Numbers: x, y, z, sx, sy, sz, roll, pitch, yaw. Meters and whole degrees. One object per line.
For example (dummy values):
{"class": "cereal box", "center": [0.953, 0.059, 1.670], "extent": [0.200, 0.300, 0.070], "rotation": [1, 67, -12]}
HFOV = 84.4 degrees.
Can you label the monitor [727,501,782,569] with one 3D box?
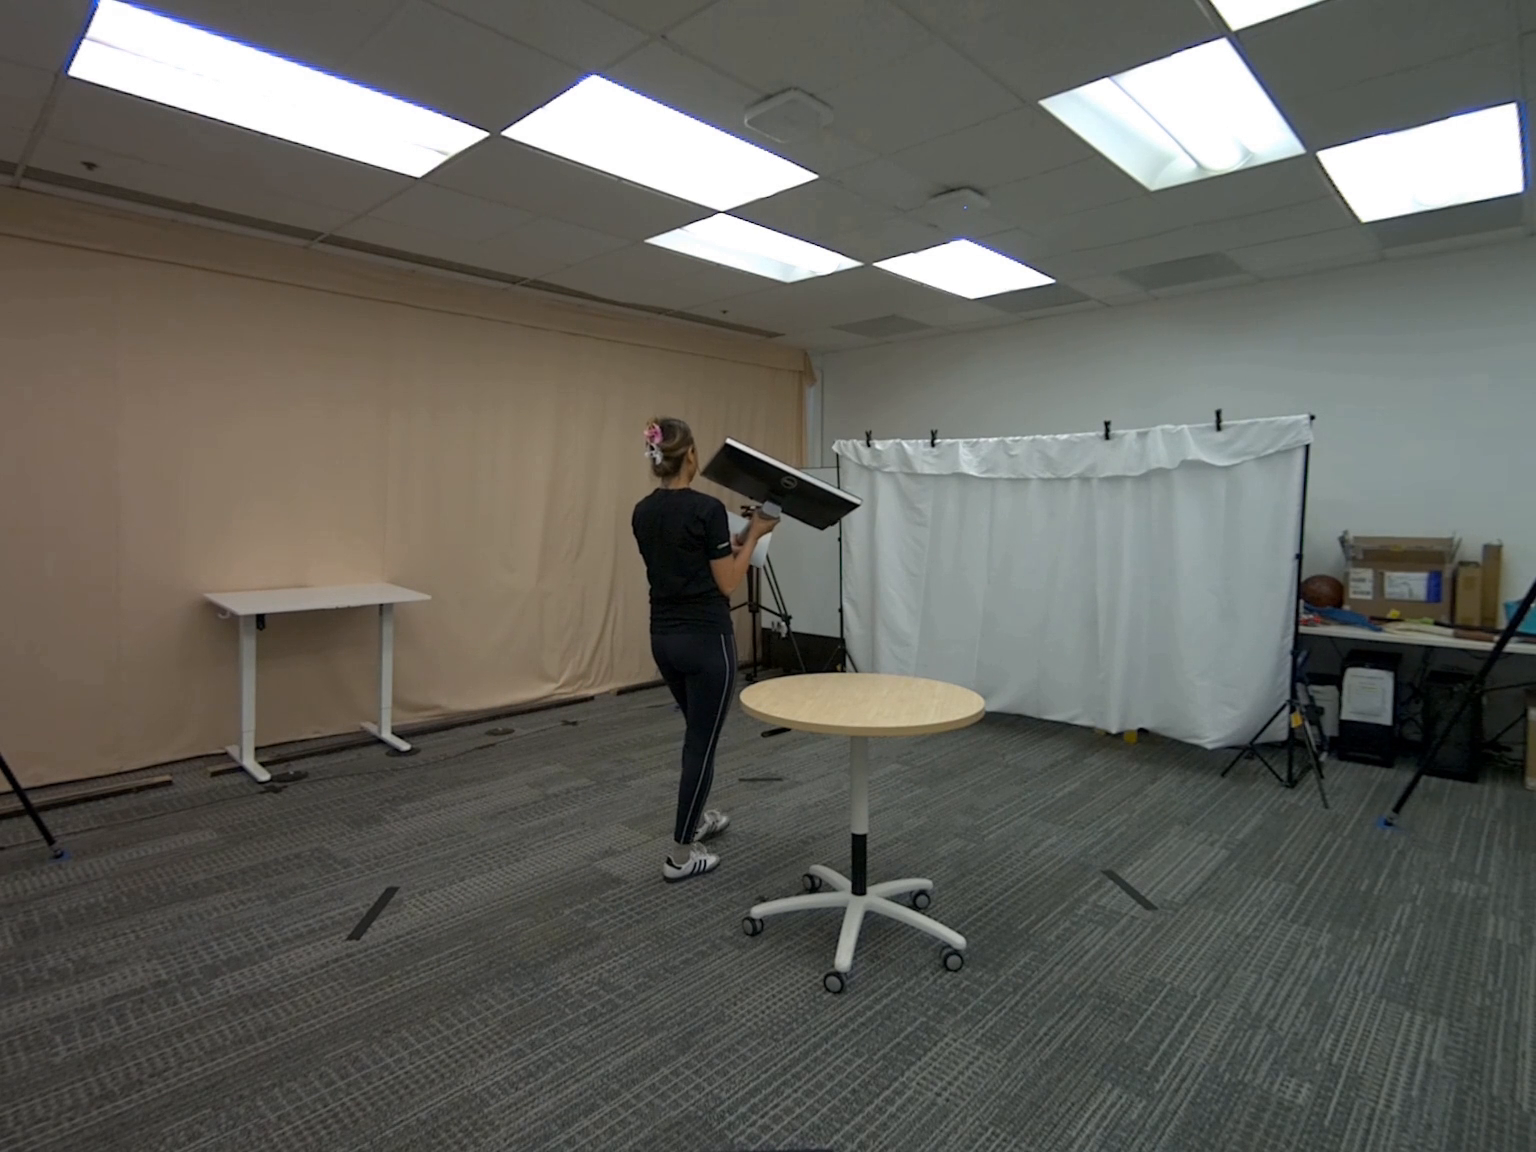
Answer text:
{"class": "monitor", "center": [0.003, -0.272, 3.284], "extent": [0.532, 0.188, 0.525], "rotation": [22, -32, -11]}
